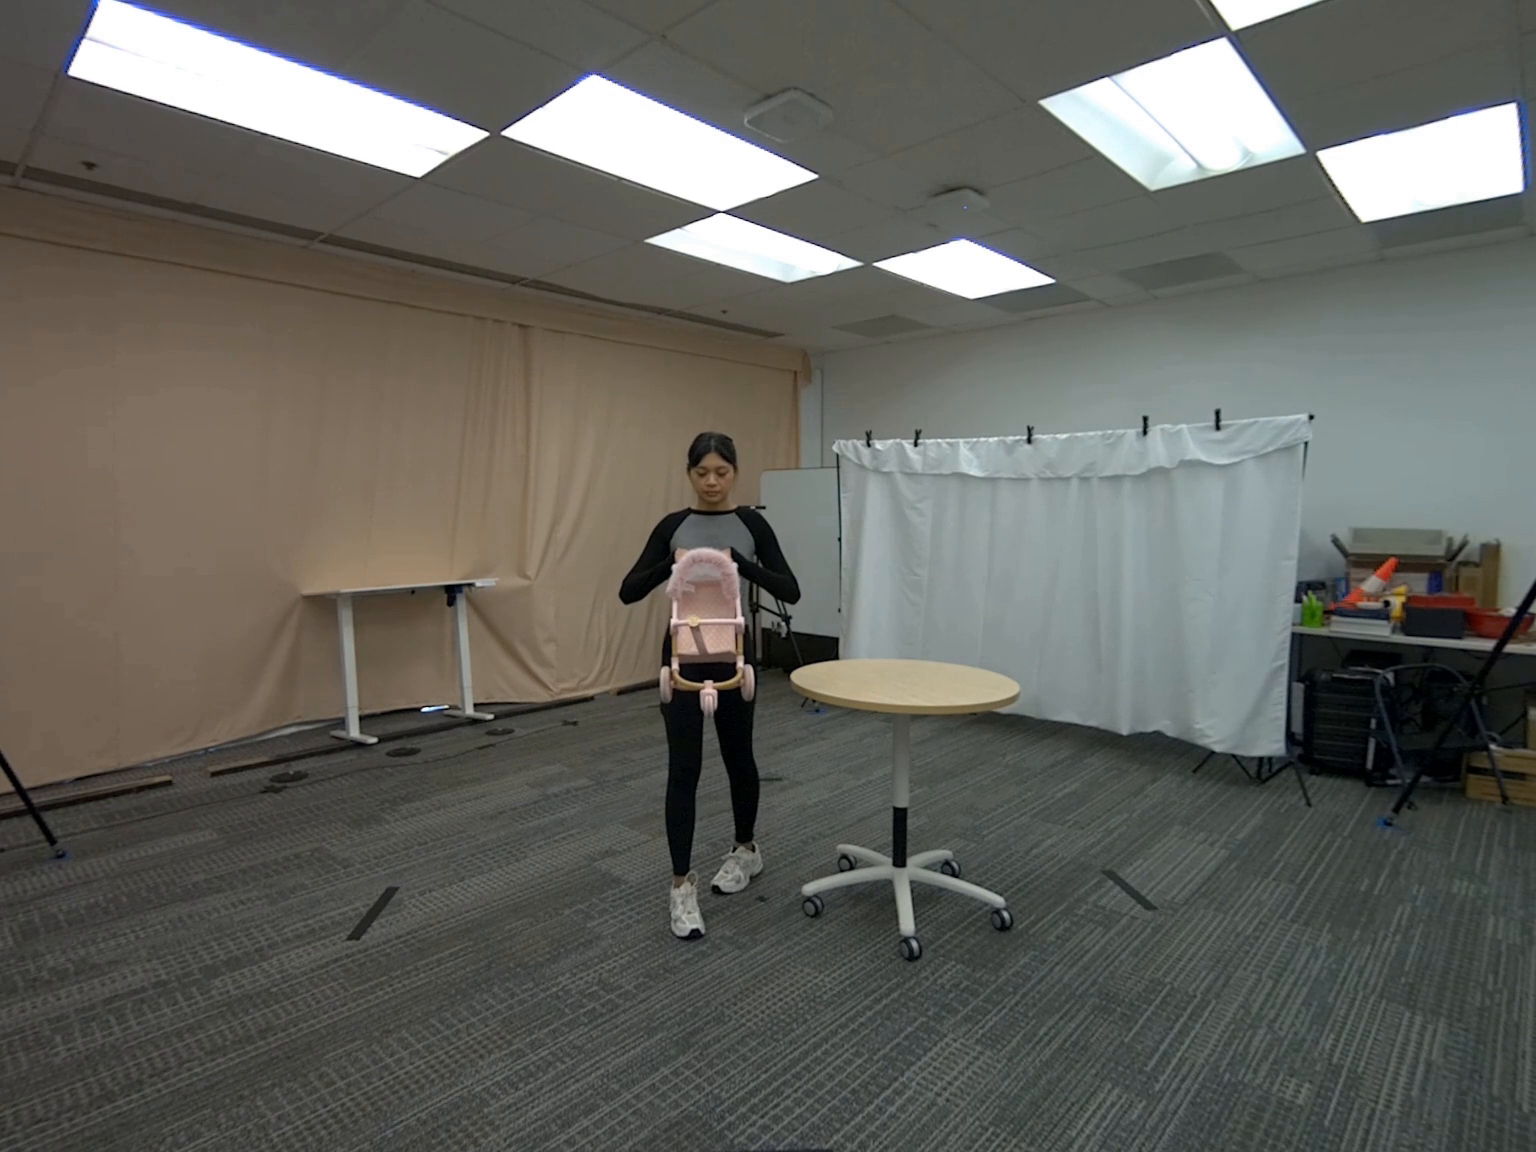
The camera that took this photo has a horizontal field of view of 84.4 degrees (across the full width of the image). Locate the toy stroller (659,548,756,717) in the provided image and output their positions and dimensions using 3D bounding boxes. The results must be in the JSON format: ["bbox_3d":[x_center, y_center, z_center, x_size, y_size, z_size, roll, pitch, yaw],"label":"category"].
[{"bbox_3d":[-0.189,0.158,2.488,0.282,0.540,0.338,-1,-14,0],"label":"toy stroller"}]
